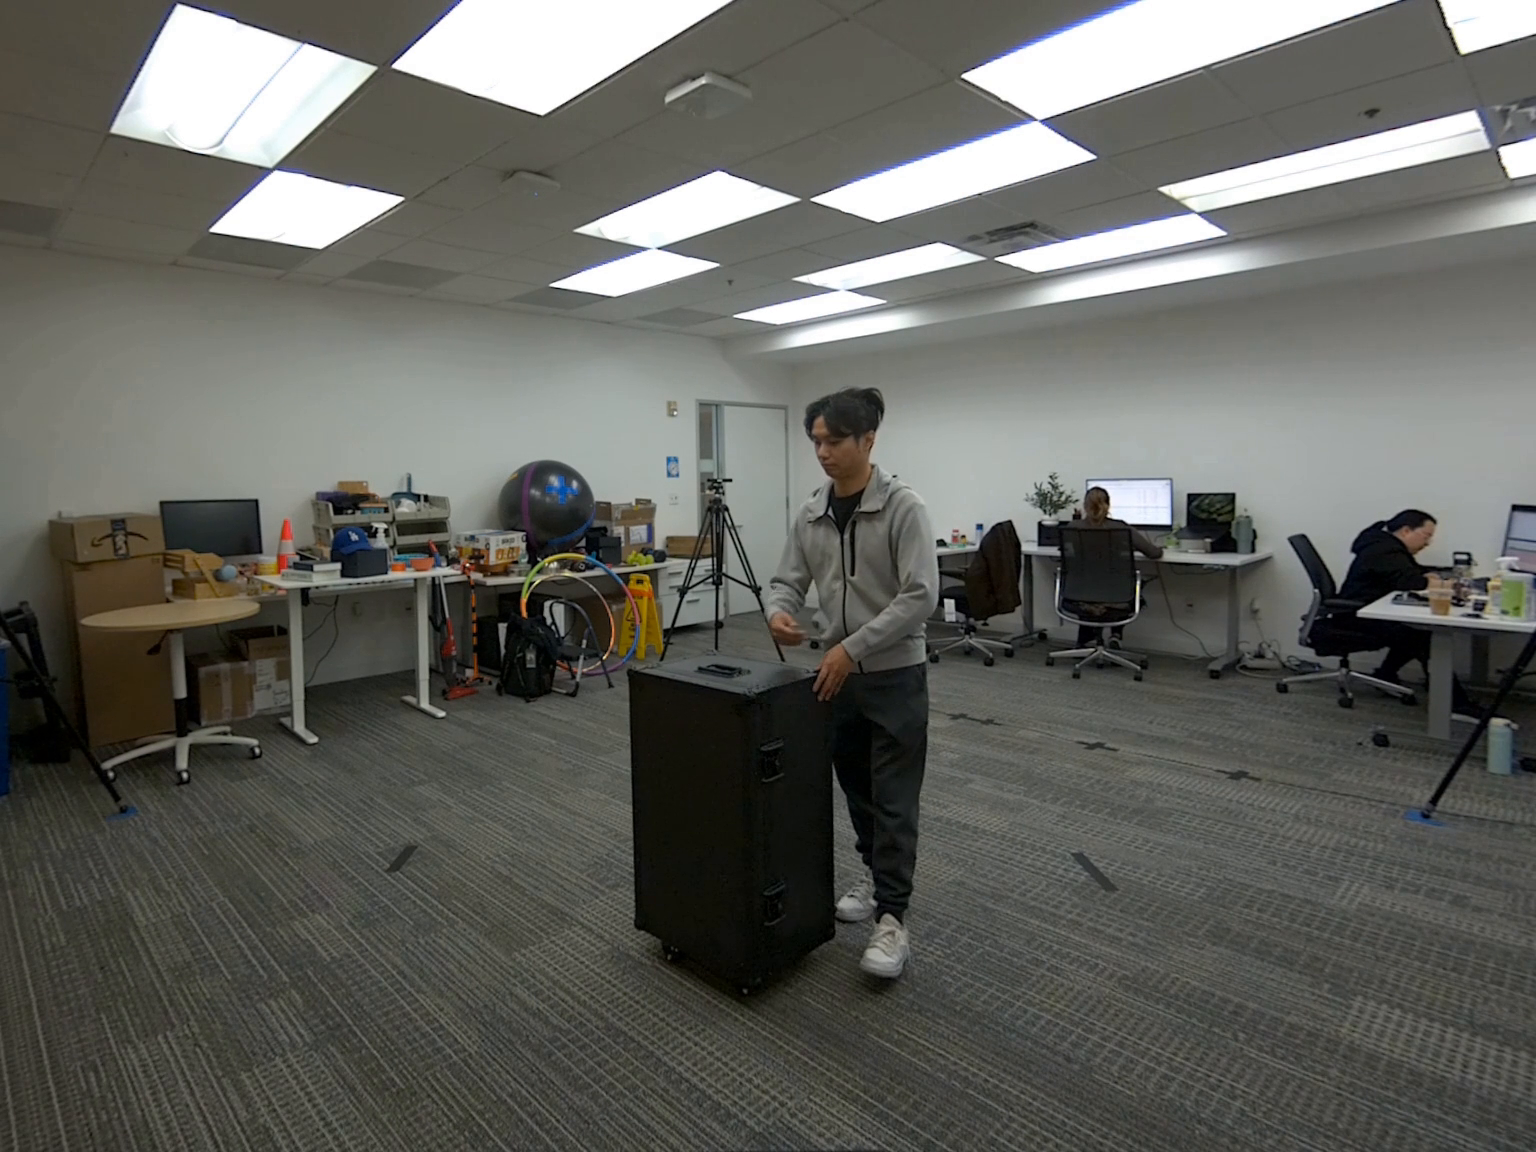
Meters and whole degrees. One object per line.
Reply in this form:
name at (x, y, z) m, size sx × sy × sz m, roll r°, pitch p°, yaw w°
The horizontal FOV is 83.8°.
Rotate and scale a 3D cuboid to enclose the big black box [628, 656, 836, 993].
big black box at (-0.104, 0.691, 2.494) m, size 0.537 × 0.859 × 0.385 m, roll 3°, pitch 4°, yaw 41°
